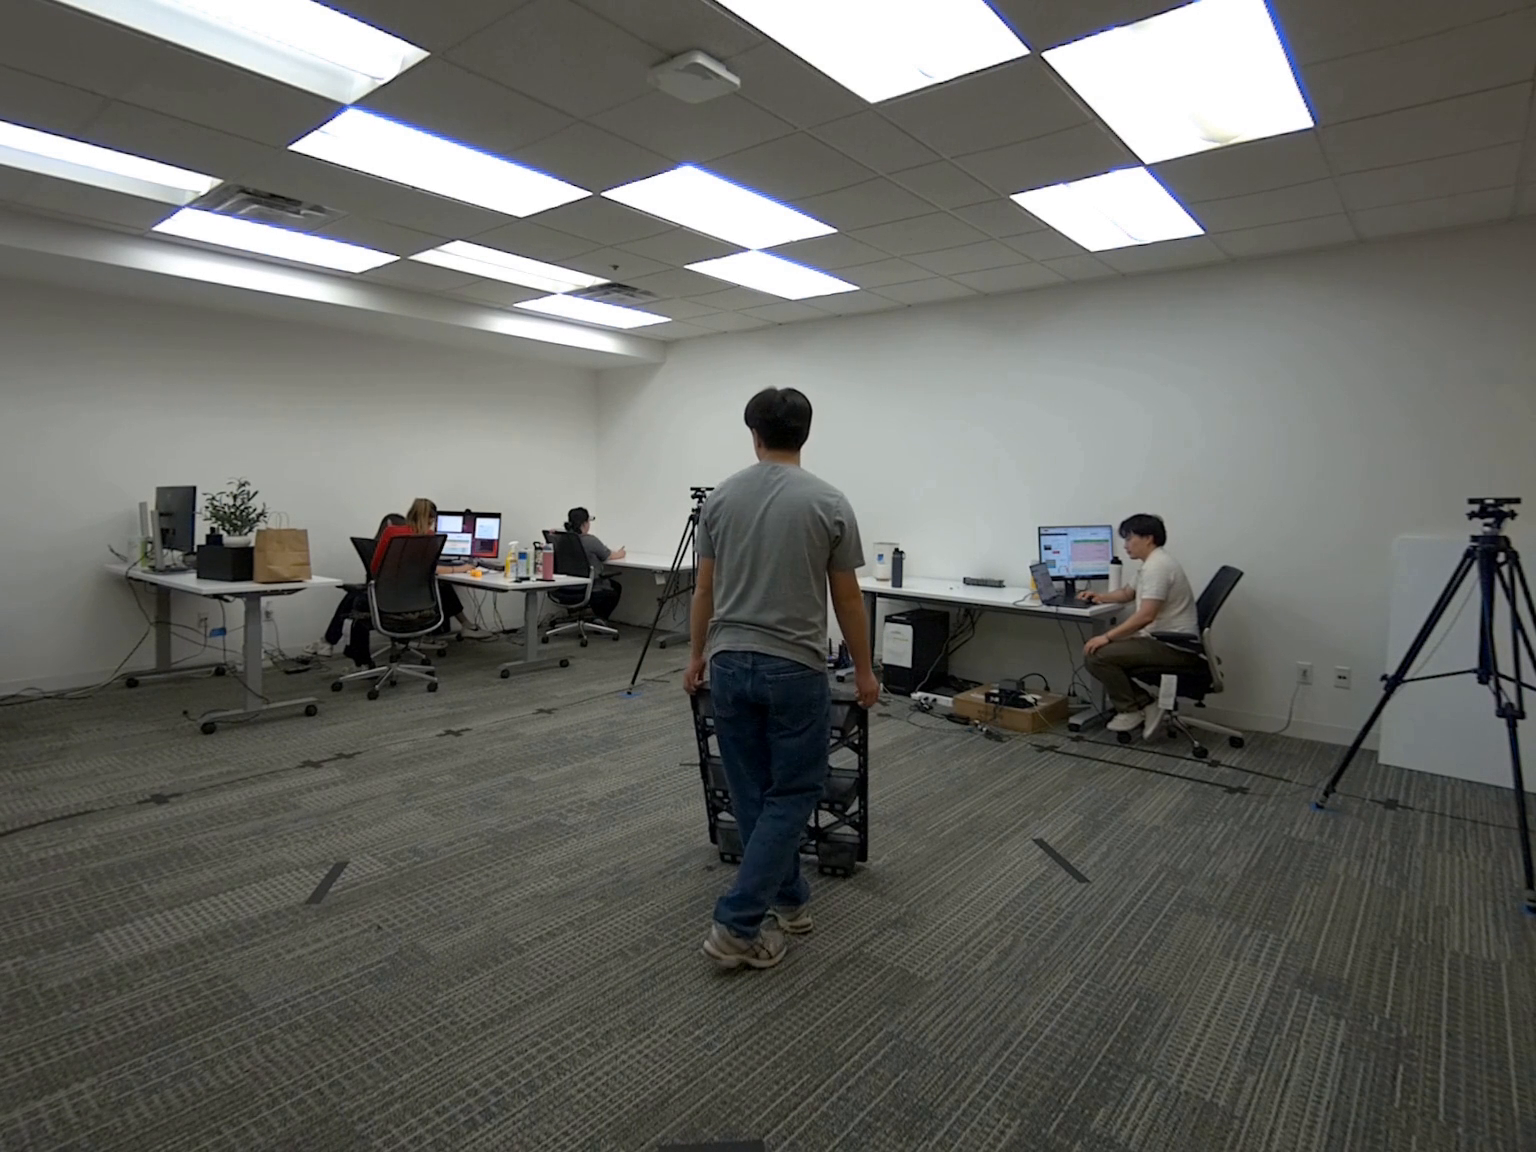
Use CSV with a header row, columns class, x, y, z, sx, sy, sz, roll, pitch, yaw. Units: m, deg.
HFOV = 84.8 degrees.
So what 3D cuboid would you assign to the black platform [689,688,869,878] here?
class,x,y,z,sx,sy,sz,roll,pitch,yaw
black platform,0.043,0.736,2.977,0.613,0.784,0.145,3,31,12
